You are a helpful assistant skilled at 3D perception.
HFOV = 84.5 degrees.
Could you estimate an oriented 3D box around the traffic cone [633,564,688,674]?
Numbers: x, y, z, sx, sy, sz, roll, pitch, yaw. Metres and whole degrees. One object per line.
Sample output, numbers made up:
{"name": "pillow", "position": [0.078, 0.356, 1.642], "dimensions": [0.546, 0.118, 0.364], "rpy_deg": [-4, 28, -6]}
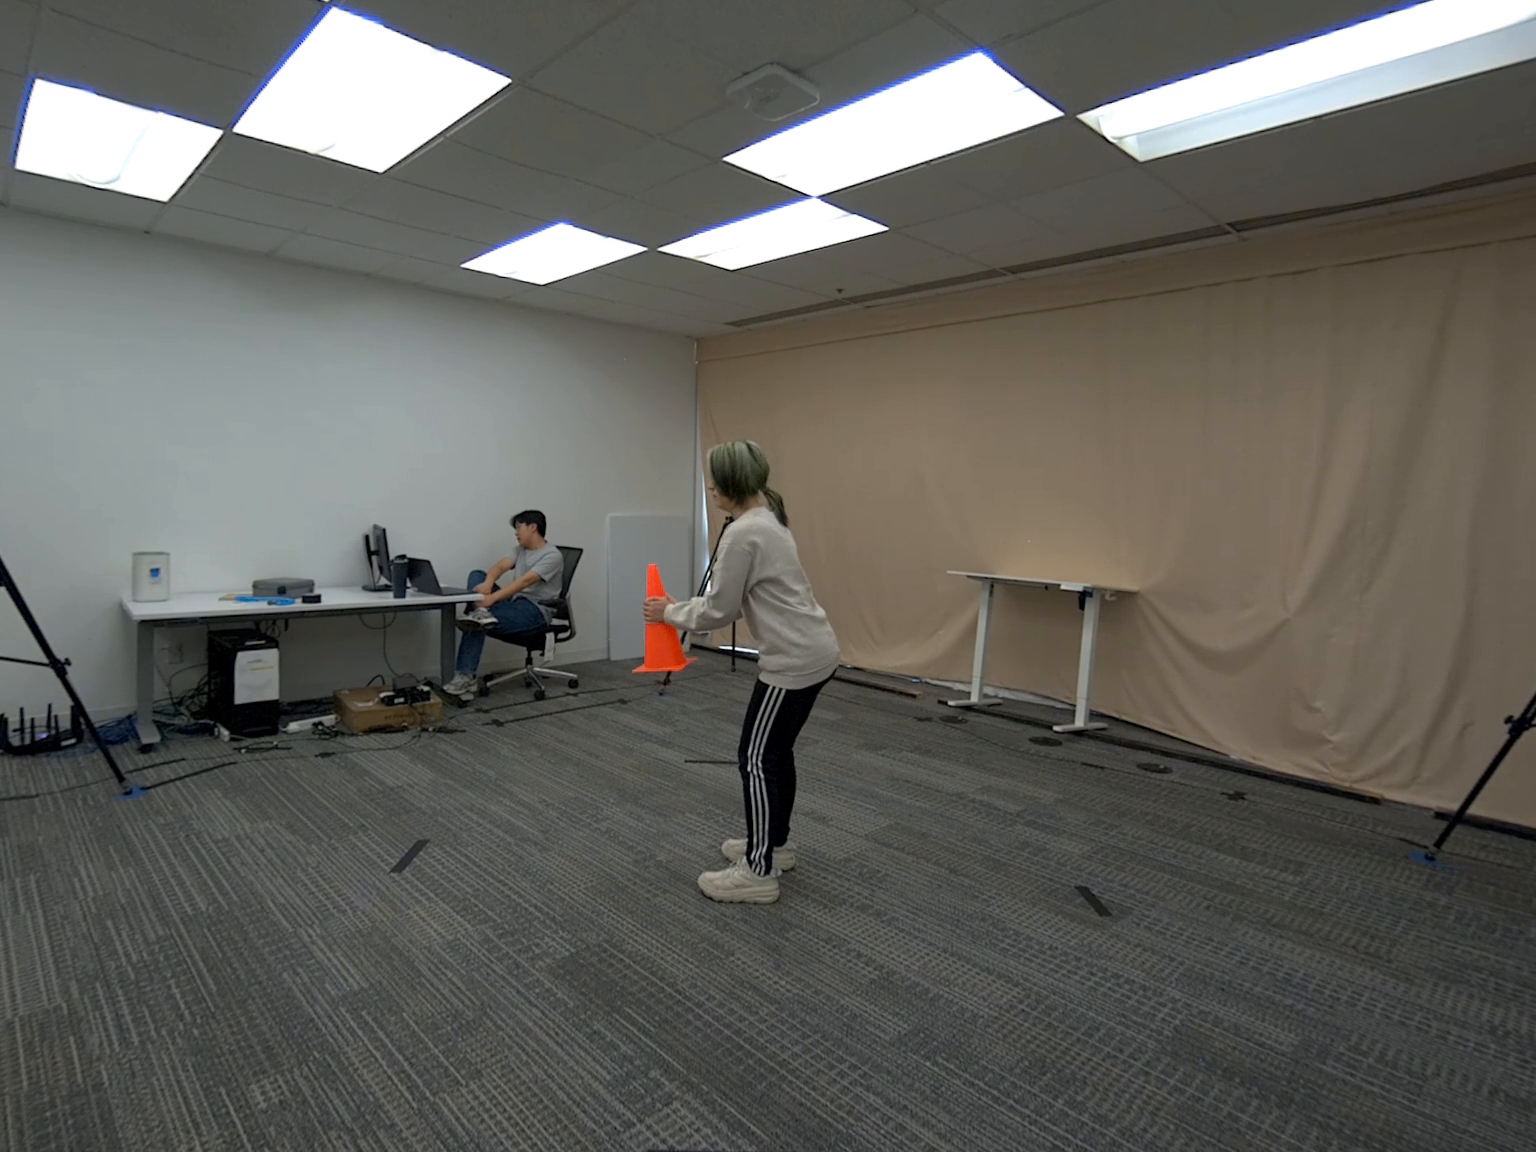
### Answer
{"name": "traffic cone", "position": [-0.410, 0.153, 3.147], "dimensions": [0.206, 0.383, 0.202], "rpy_deg": [-5, 3, 19]}
